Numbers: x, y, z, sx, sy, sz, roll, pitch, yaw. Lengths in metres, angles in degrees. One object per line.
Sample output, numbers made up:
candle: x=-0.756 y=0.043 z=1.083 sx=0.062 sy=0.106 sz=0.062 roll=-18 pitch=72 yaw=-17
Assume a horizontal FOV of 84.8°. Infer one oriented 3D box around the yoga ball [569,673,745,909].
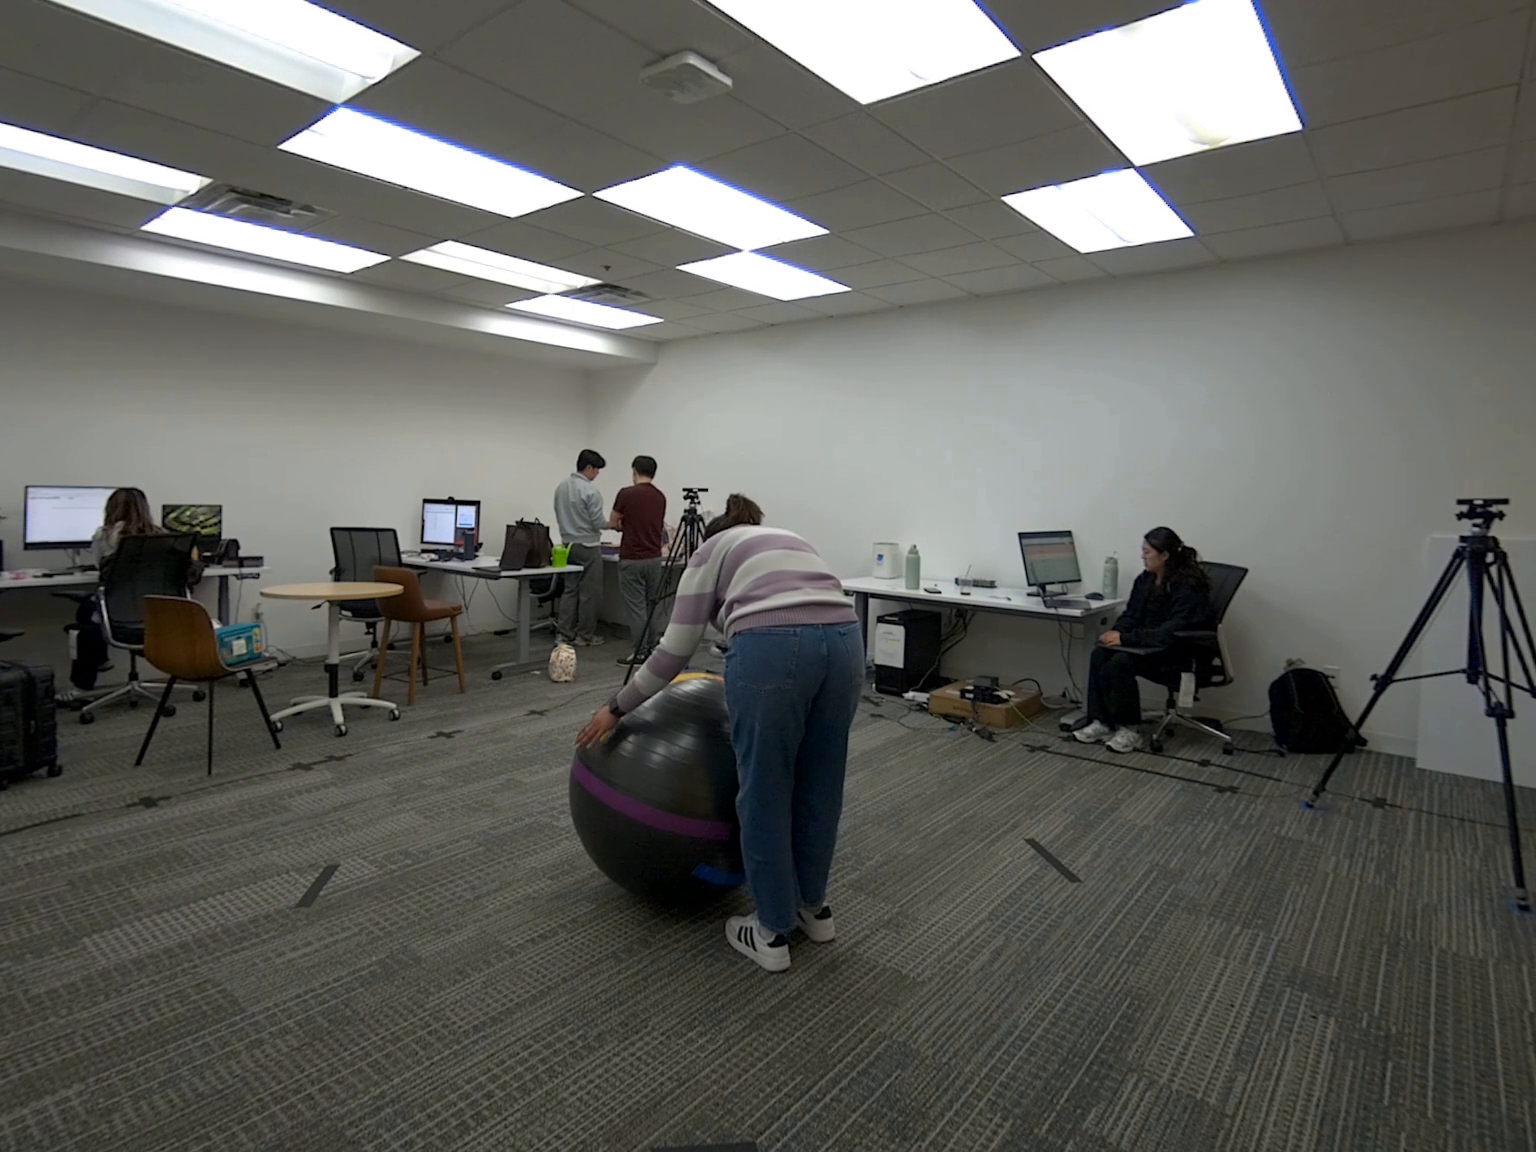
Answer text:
yoga ball: x=-0.310 y=0.716 z=2.911 sx=0.757 sy=0.756 sz=0.762 roll=1 pitch=4 yaw=-2
